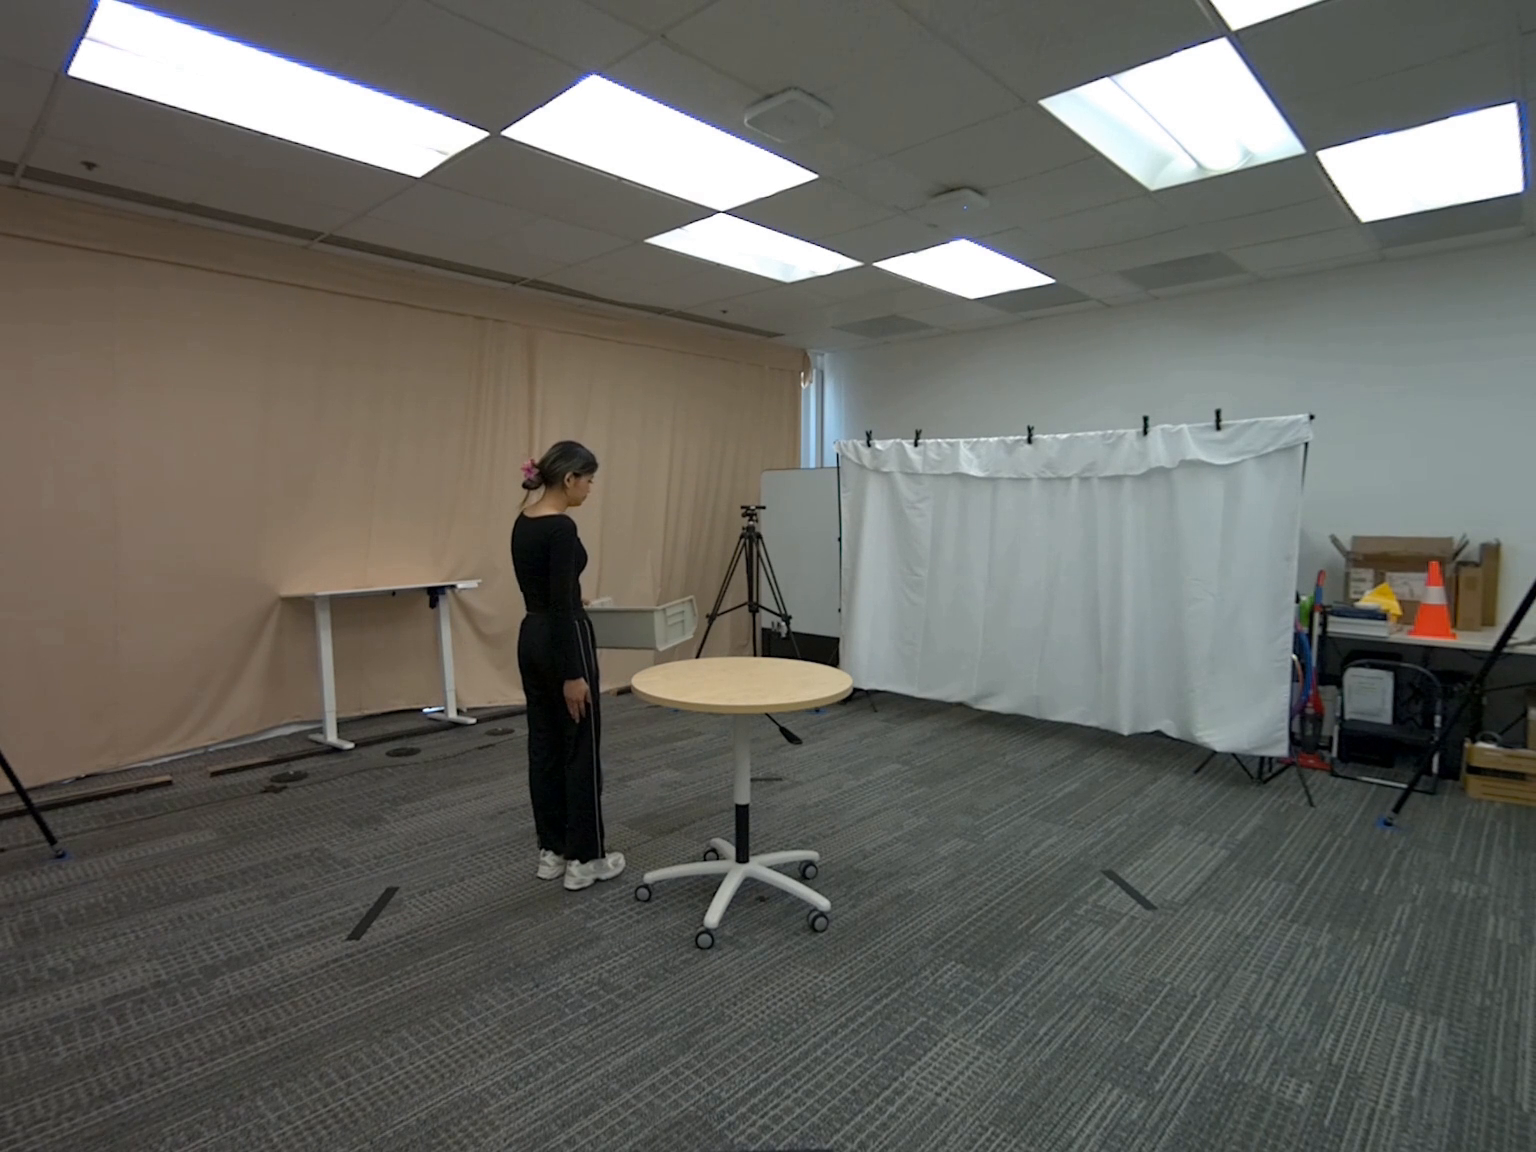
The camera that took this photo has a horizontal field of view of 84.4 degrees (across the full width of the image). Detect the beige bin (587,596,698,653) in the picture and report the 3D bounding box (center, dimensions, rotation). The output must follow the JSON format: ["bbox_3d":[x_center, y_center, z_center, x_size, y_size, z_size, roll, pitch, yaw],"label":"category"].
[{"bbox_3d":[-0.563,0.193,3.572,0.432,0.188,0.371,-1,7,22],"label":"beige bin"}]
